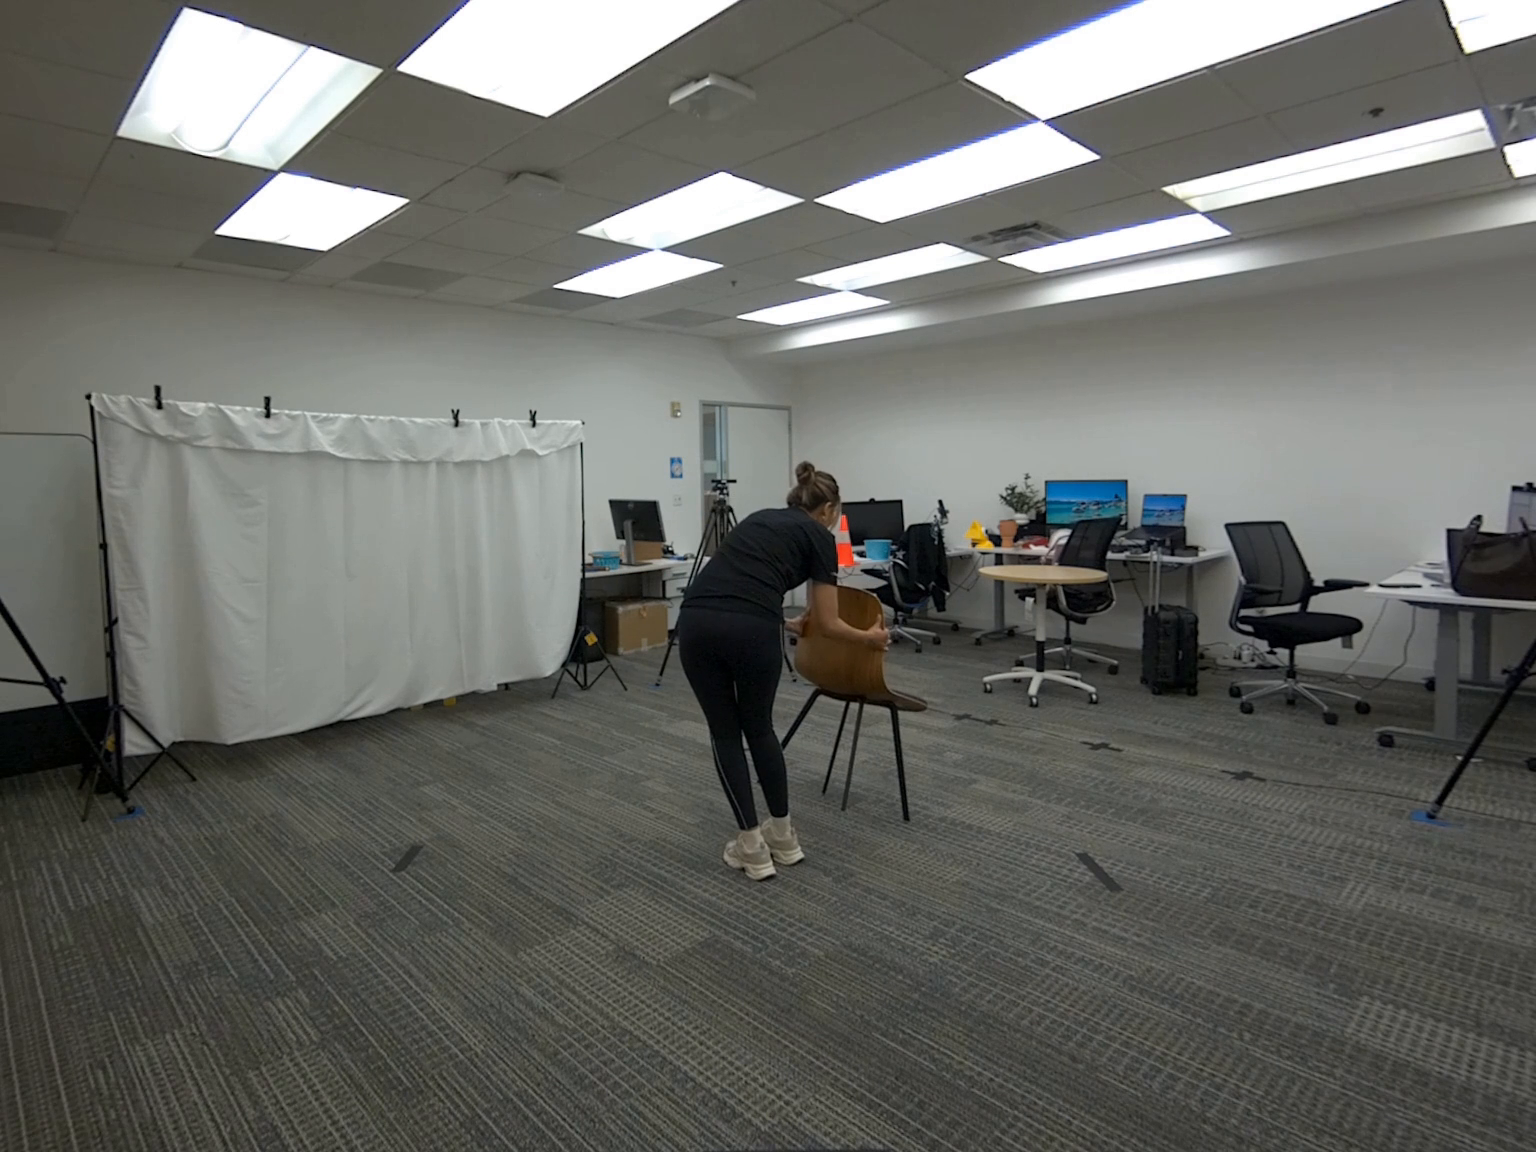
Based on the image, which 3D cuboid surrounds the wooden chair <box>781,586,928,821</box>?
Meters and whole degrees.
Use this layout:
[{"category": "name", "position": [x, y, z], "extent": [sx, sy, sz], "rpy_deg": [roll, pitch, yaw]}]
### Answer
[{"category": "wooden chair", "position": [0.365, 0.510, 3.562], "extent": [0.493, 0.882, 0.504], "rpy_deg": [3, -10, 44]}]
